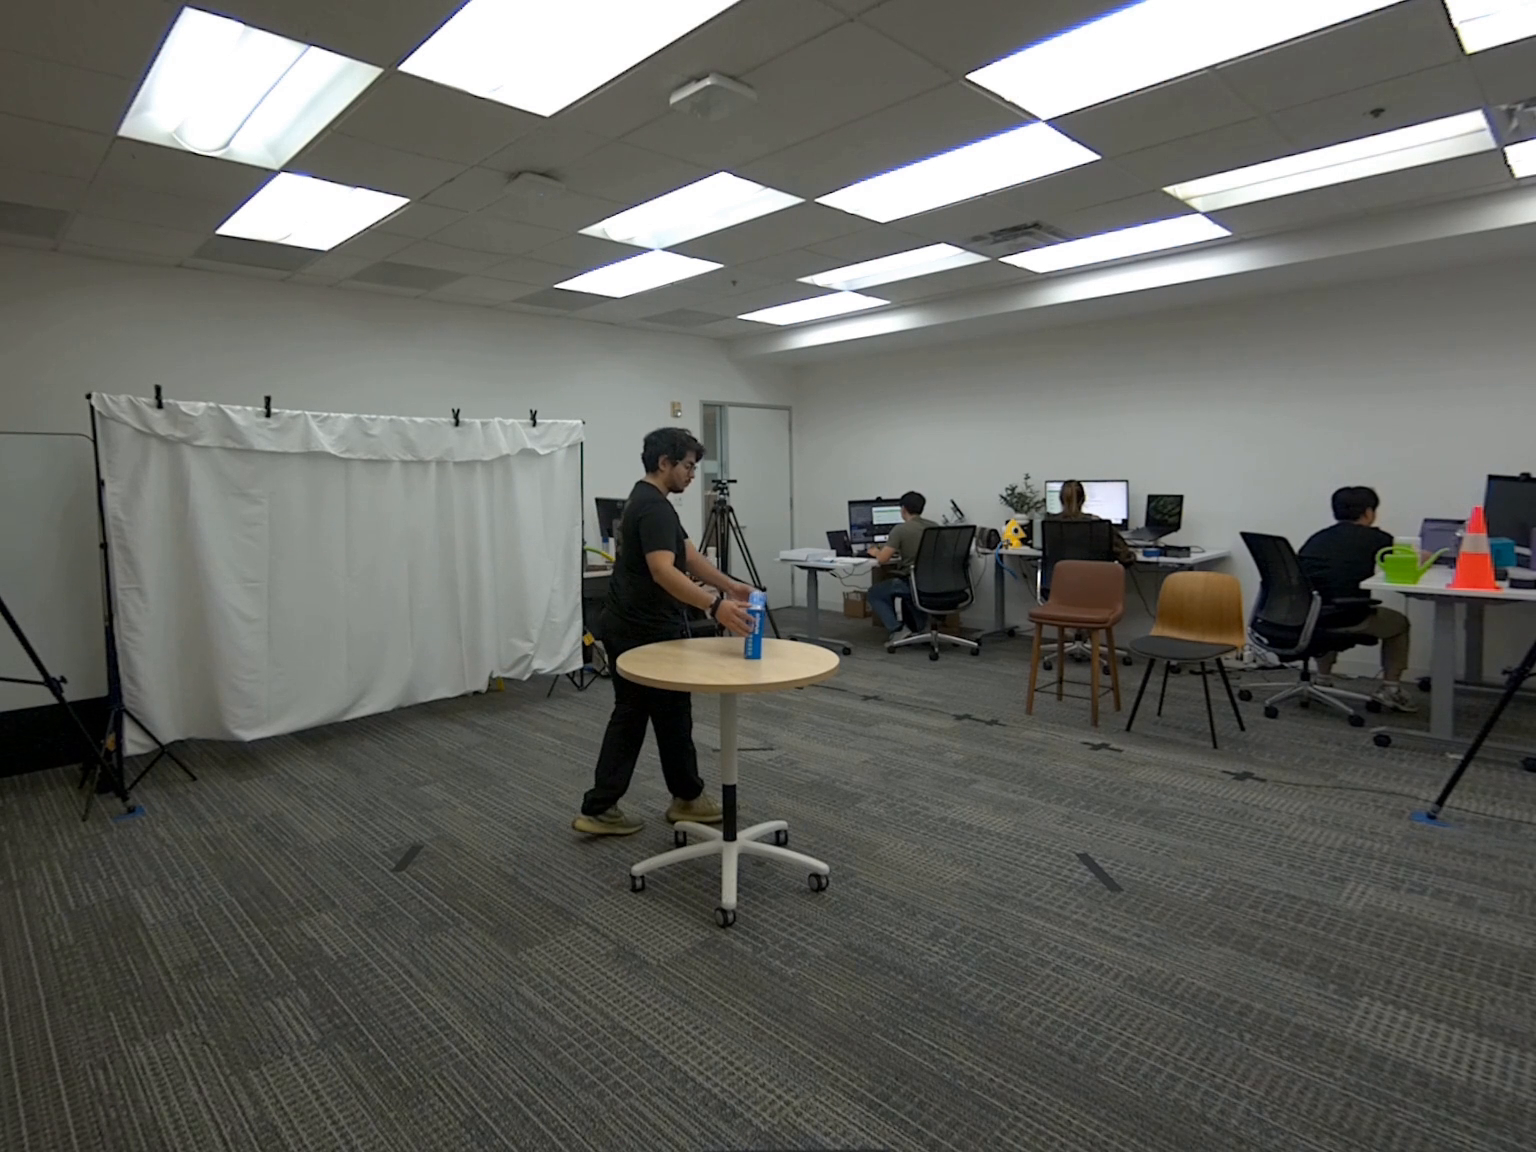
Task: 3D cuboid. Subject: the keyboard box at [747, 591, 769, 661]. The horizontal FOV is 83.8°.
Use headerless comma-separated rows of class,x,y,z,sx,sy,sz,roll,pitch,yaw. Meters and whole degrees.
keyboard box,-0.039,0.171,3.133,0.059,0.175,0.438,3,6,-1
